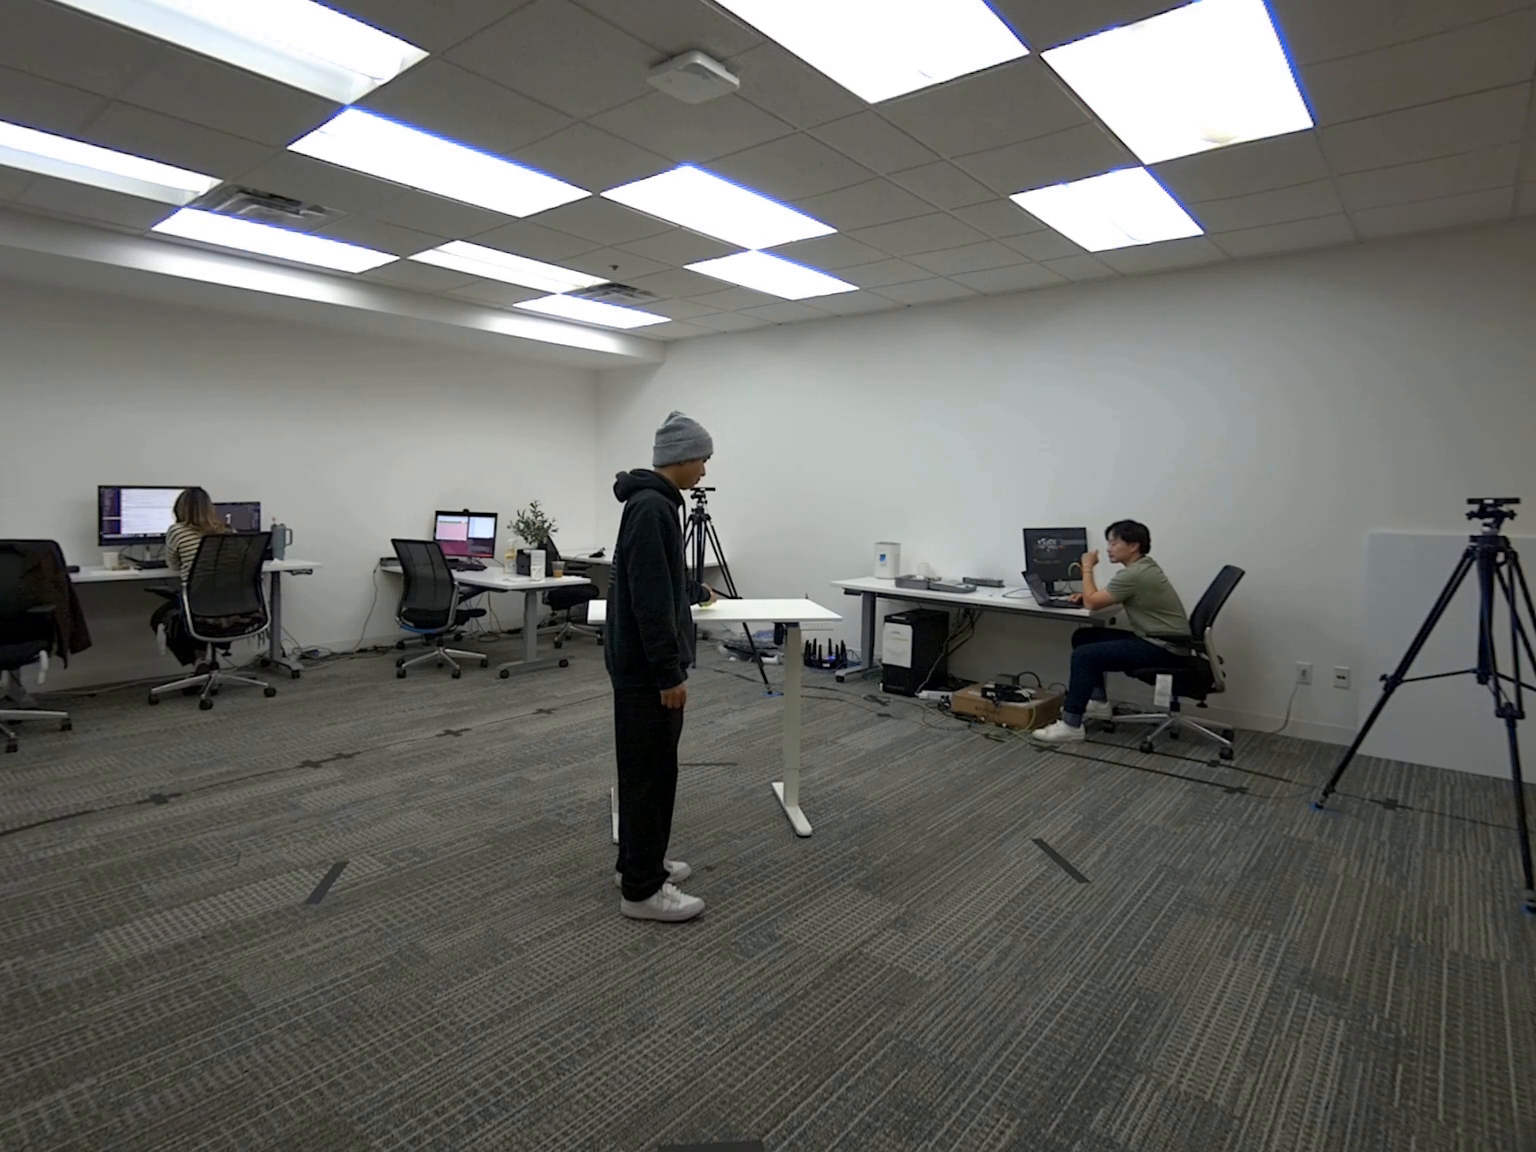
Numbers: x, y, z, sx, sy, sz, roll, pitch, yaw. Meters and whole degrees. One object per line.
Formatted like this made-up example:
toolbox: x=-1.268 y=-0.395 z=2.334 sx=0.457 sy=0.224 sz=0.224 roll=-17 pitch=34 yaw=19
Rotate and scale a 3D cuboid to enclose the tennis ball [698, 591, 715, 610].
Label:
tennis ball: x=-0.266 y=0.102 z=3.590 sx=0.066 sy=0.066 sz=0.067 roll=1 pitch=4 yaw=-2
